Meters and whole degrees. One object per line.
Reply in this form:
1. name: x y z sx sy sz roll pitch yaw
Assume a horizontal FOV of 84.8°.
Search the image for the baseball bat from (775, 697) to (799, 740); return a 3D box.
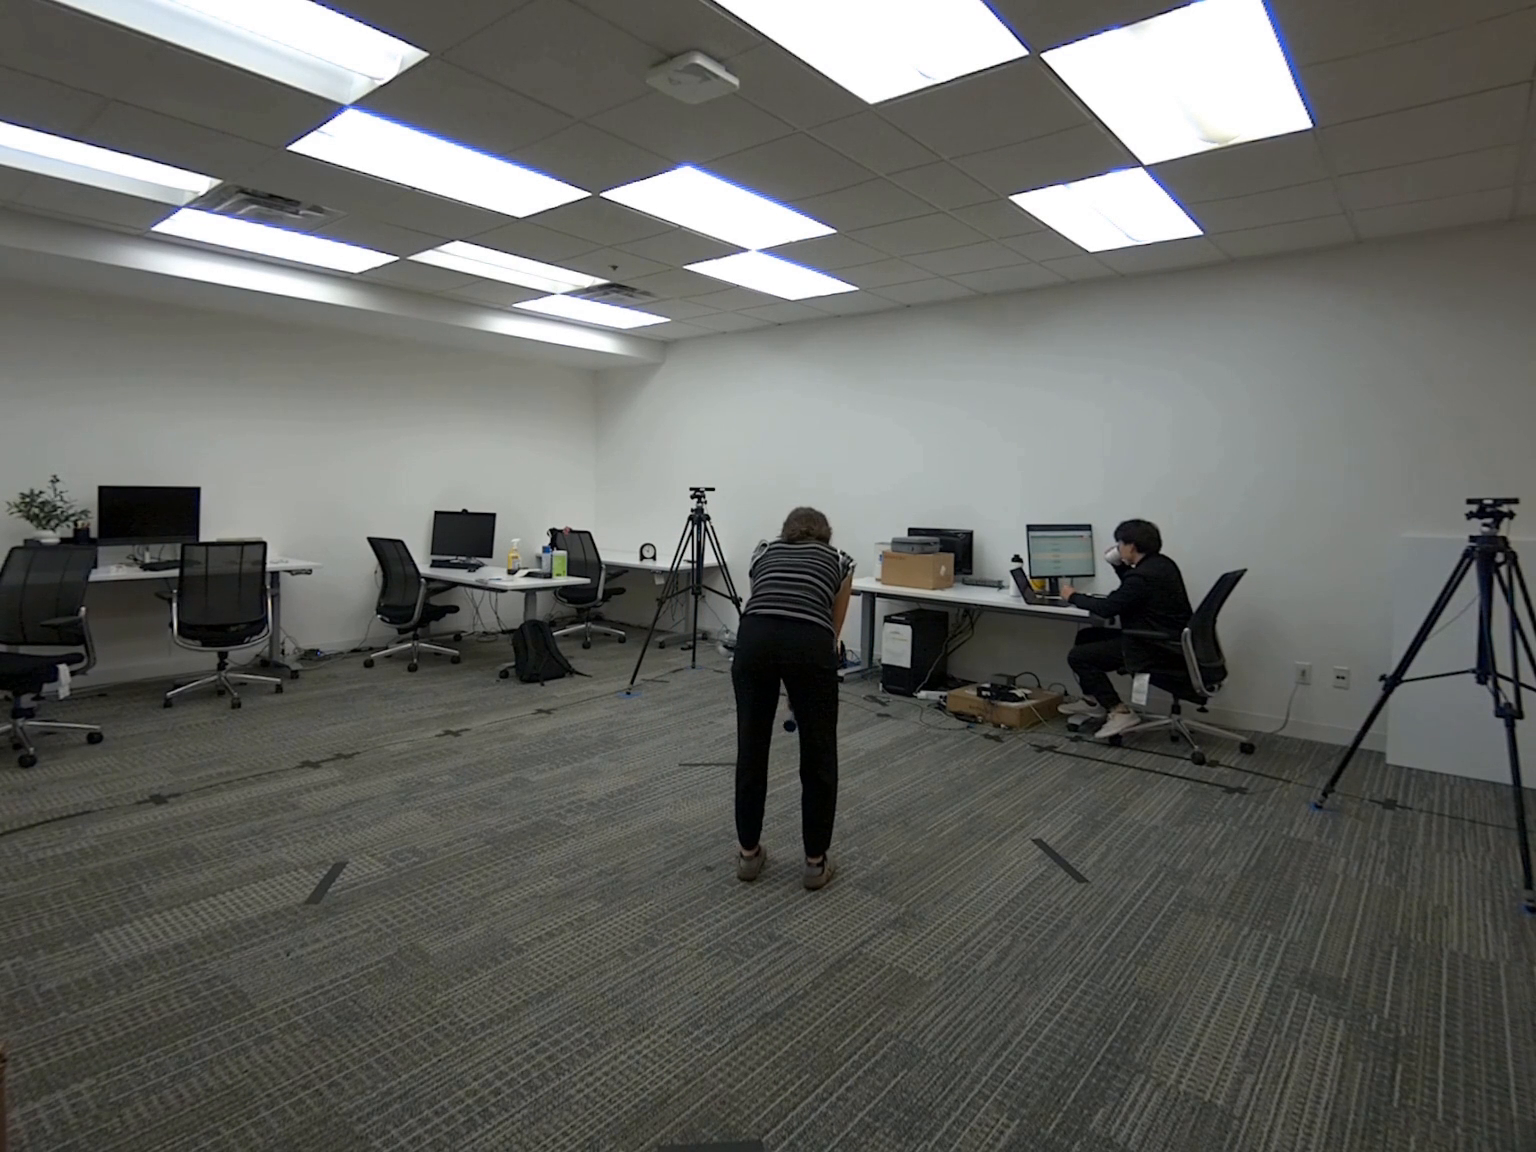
1. baseball bat: 0.124 0.508 3.390 0.090 0.088 0.540 2 11 11
